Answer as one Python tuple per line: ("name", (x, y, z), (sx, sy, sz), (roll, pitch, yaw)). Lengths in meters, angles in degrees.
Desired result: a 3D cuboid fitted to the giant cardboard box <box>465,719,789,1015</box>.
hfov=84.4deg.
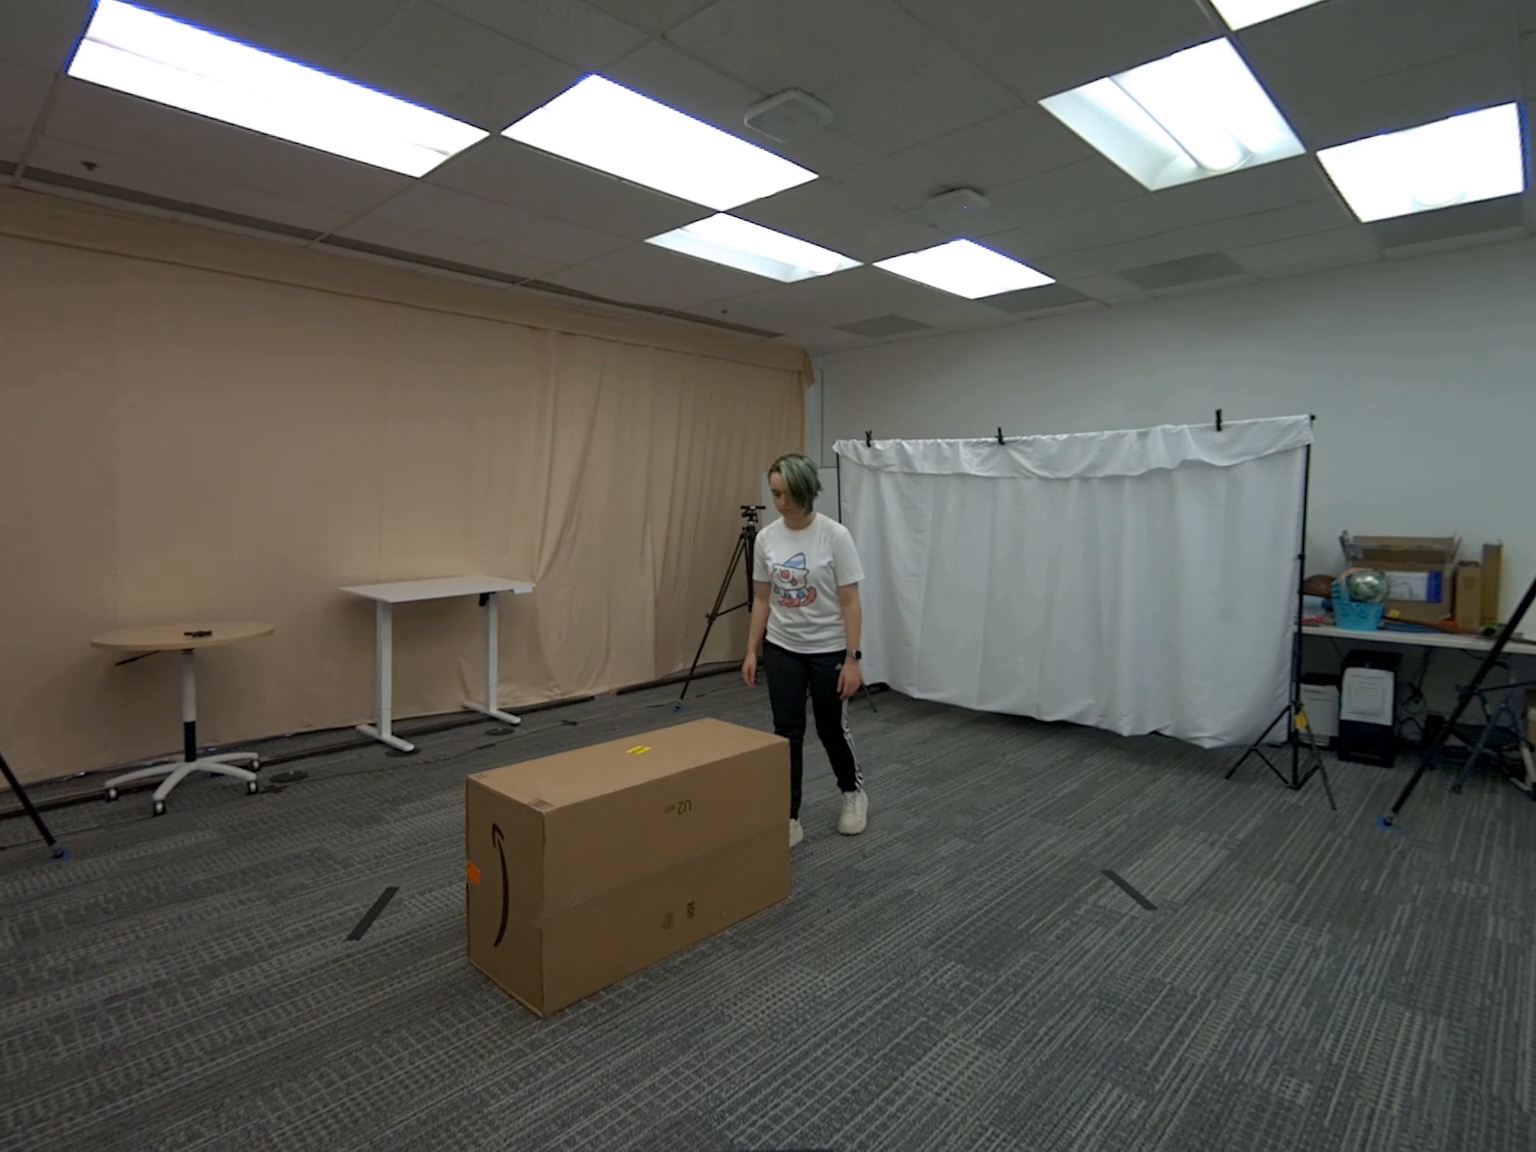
("giant cardboard box", (-0.423, 0.878, 2.772), (0.461, 0.583, 0.995), (2, 4, 44))
